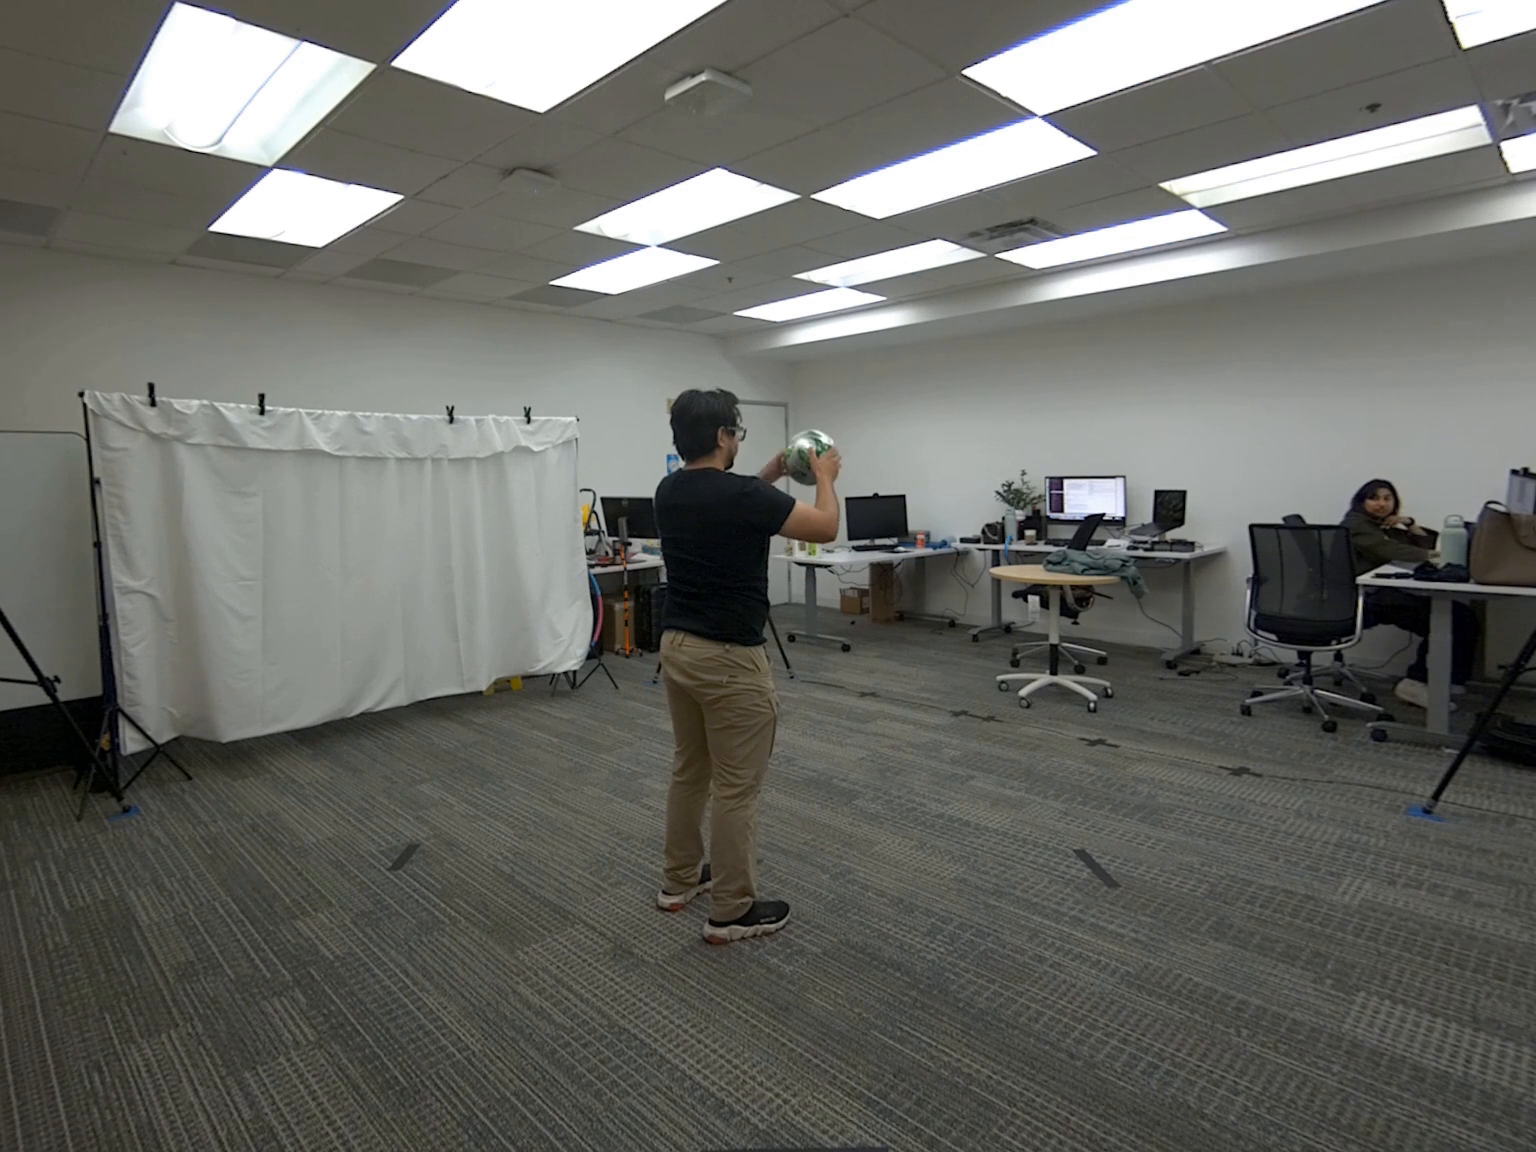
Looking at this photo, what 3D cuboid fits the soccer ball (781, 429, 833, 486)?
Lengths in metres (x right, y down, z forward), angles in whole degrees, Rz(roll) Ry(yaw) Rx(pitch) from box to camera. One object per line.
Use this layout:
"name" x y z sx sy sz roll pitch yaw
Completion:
"soccer ball" 0.143 -0.364 2.881 0.187 0.187 0.188 -1 5 -2
